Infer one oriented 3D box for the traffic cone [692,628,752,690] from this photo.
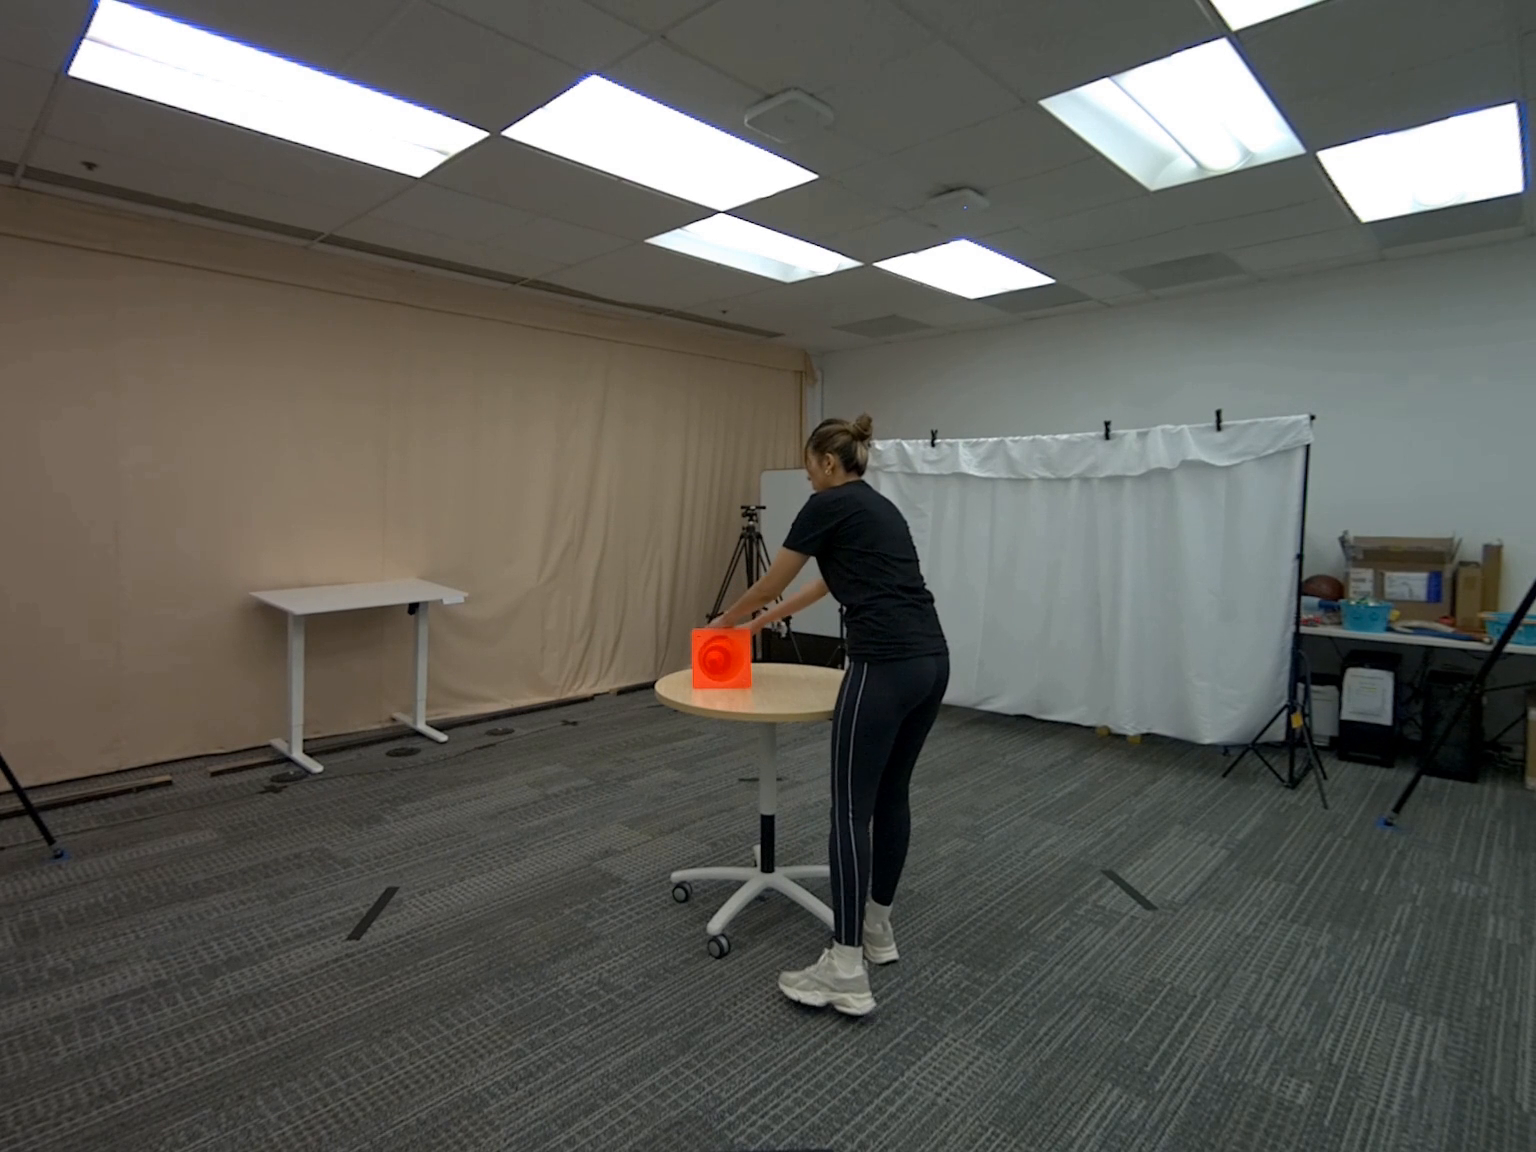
[{"bbox_3d":[-0.180,0.296,2.990,0.204,0.204,0.383,0,-6,-5],"label":"traffic cone"}]
